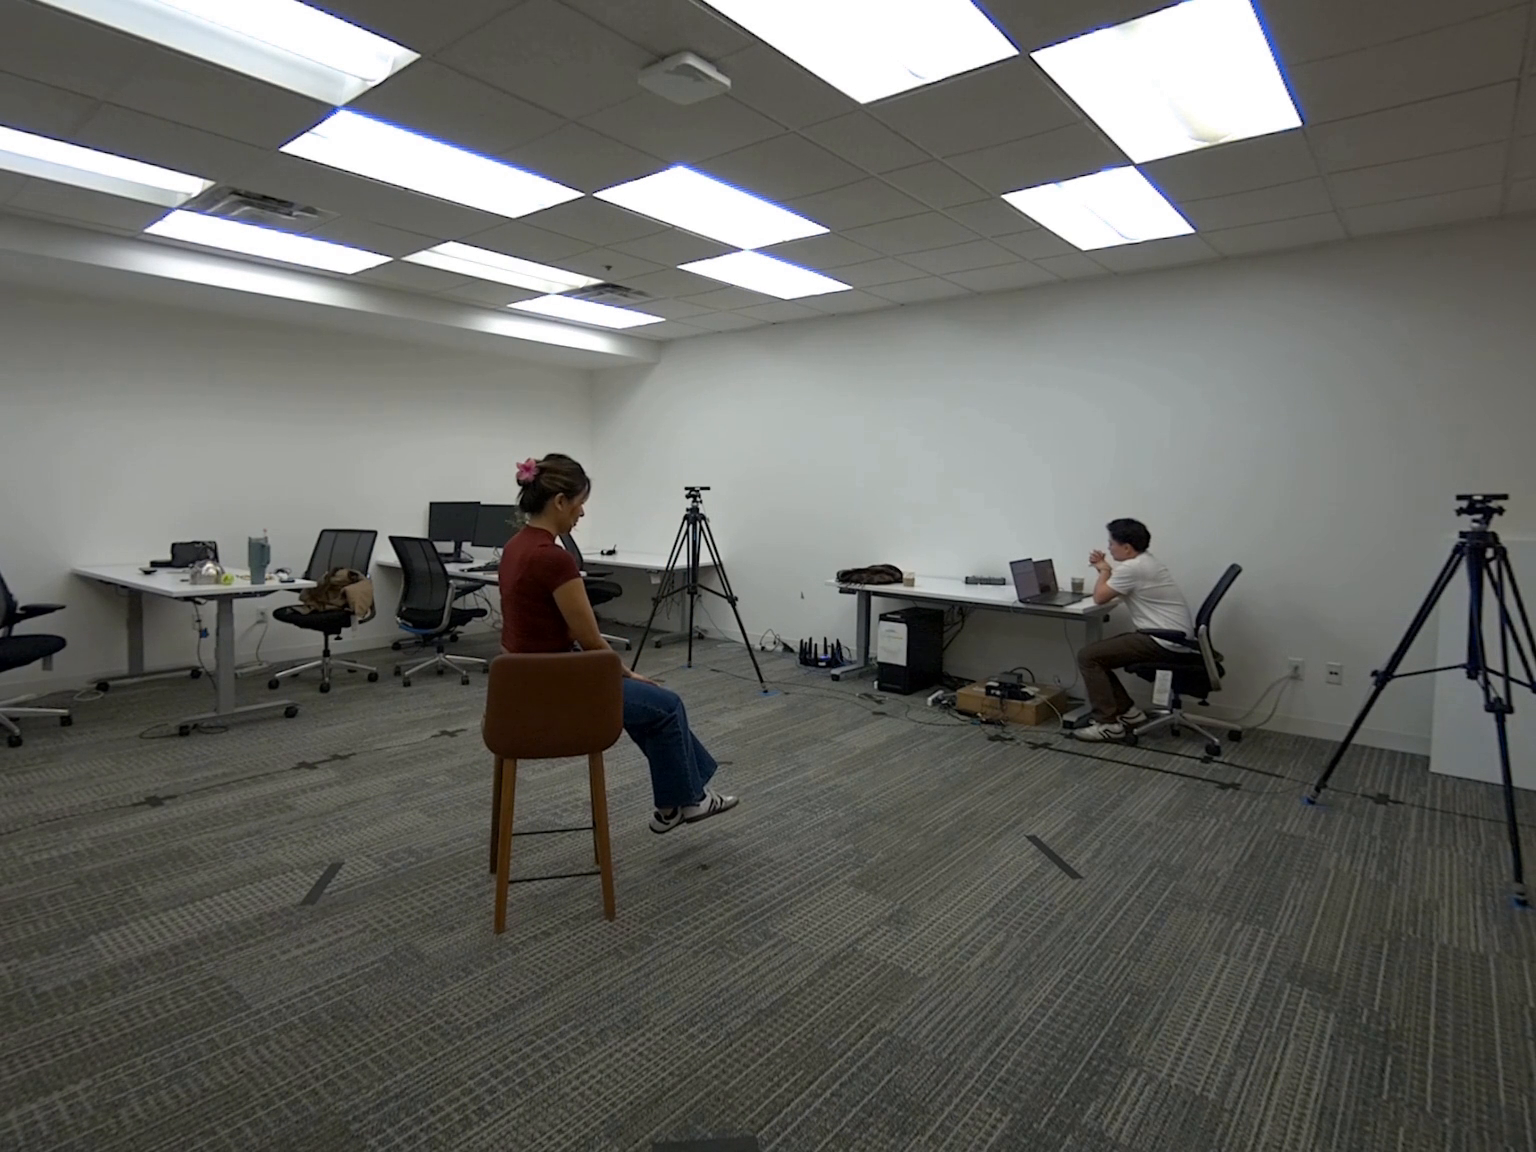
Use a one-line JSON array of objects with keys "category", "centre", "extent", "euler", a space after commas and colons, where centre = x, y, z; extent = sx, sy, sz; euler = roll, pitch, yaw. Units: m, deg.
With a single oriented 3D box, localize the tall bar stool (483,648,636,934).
[{"category": "tall bar stool", "centre": [-0.746, 0.652, 2.859], "extent": [0.449, 0.886, 0.478], "euler": [-1, 5, -18]}]
